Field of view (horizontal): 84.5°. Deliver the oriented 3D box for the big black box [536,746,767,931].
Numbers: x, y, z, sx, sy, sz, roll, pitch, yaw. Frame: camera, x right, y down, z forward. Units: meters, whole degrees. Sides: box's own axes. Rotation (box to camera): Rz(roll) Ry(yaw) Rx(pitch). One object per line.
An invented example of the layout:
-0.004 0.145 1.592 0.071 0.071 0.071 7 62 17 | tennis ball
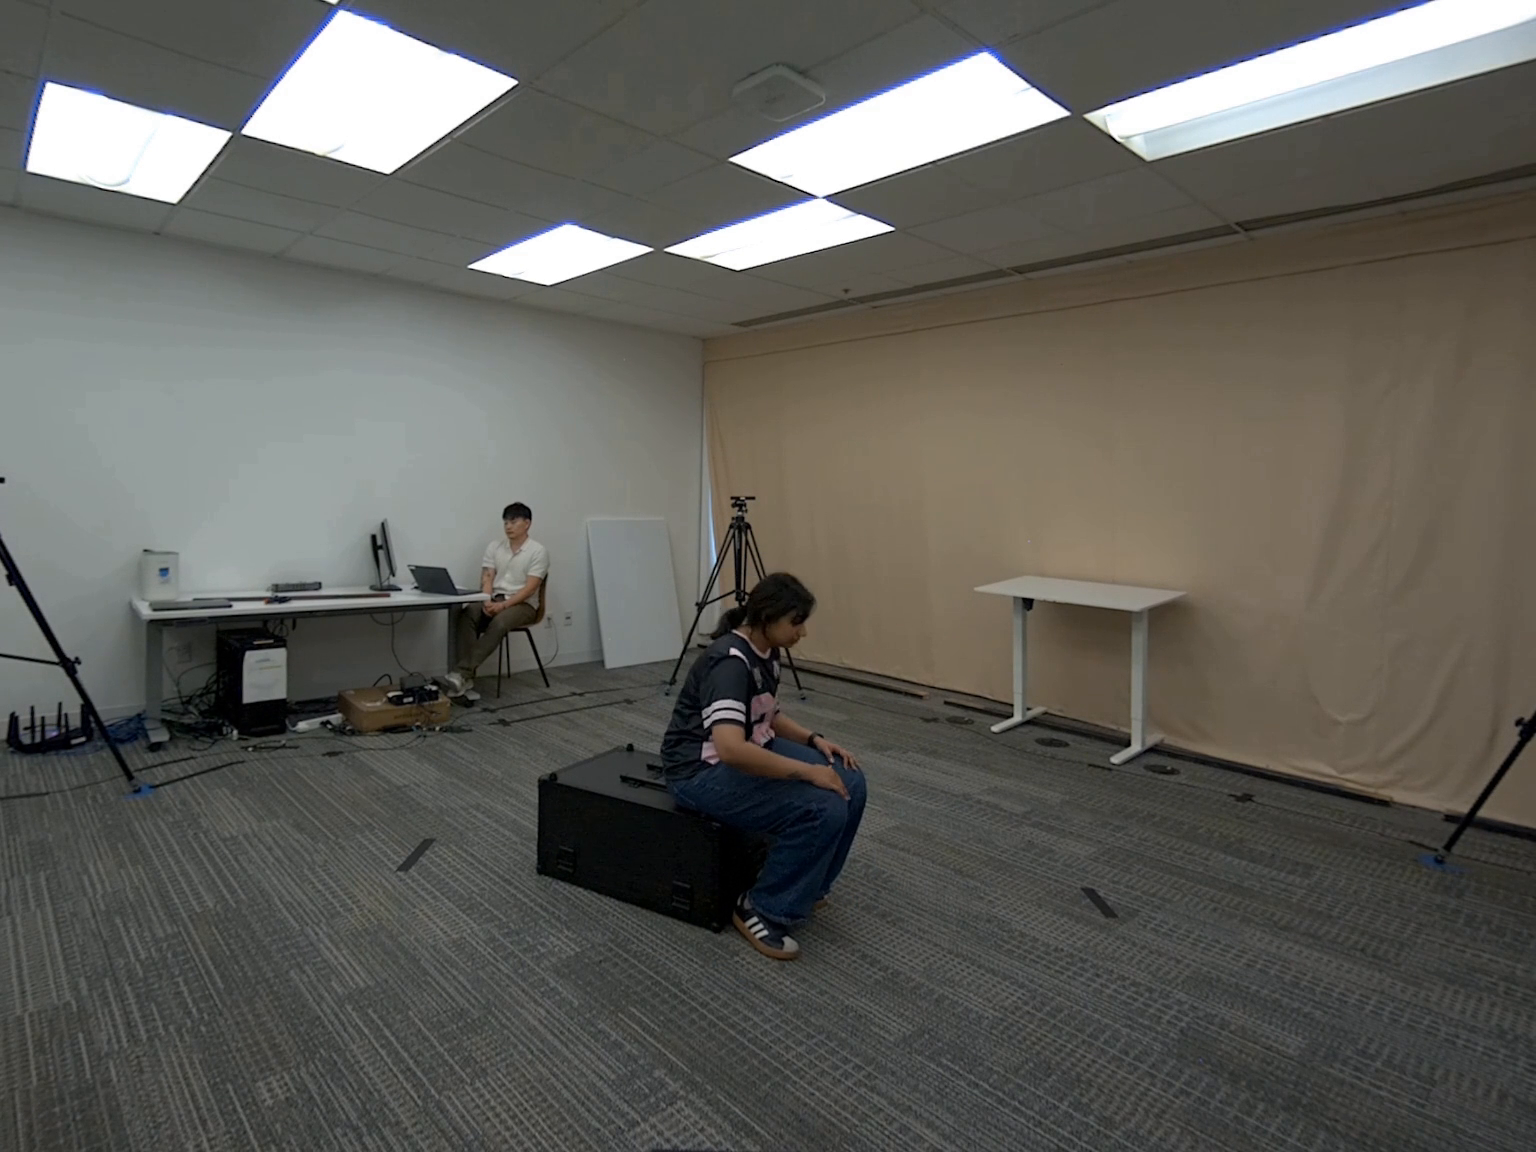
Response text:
-0.426 0.915 3.089 0.887 0.384 0.514 4 7 29 | big black box
